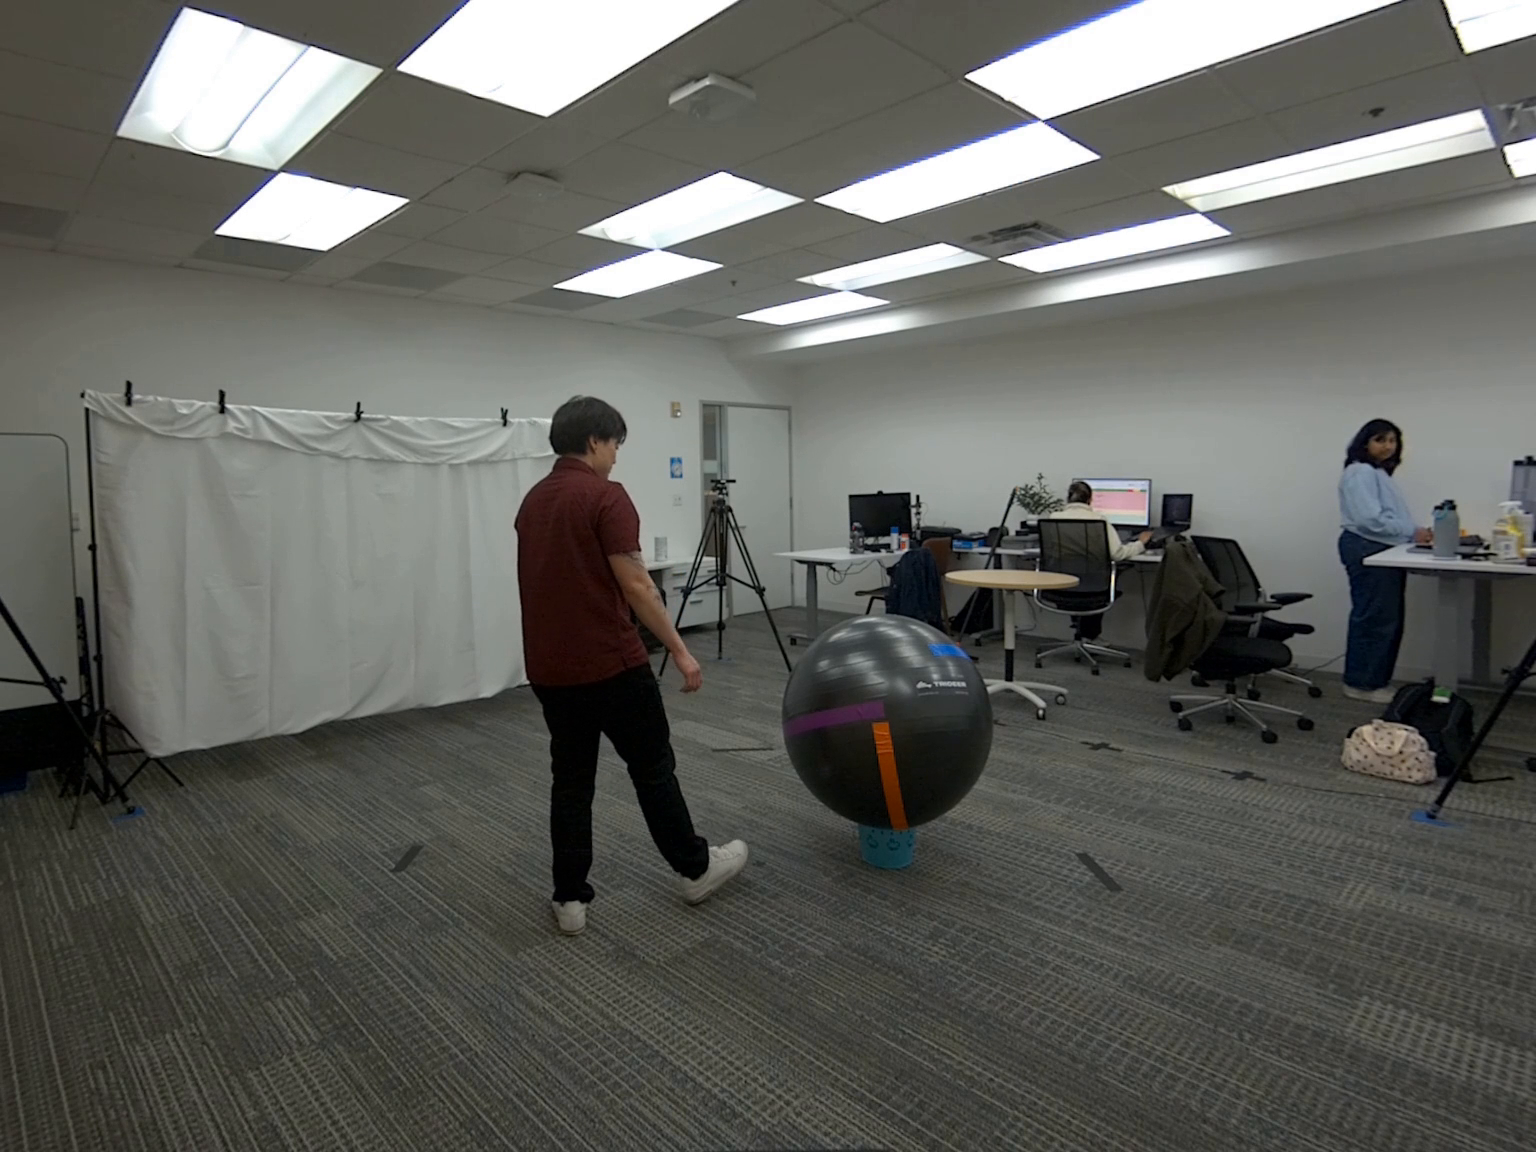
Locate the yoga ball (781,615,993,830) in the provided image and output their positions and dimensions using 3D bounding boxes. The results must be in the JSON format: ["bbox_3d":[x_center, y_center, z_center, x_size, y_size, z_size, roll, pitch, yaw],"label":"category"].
[{"bbox_3d":[0.434,0.527,3.125,0.757,0.755,0.762,-1,5,-2],"label":"yoga ball"}]
